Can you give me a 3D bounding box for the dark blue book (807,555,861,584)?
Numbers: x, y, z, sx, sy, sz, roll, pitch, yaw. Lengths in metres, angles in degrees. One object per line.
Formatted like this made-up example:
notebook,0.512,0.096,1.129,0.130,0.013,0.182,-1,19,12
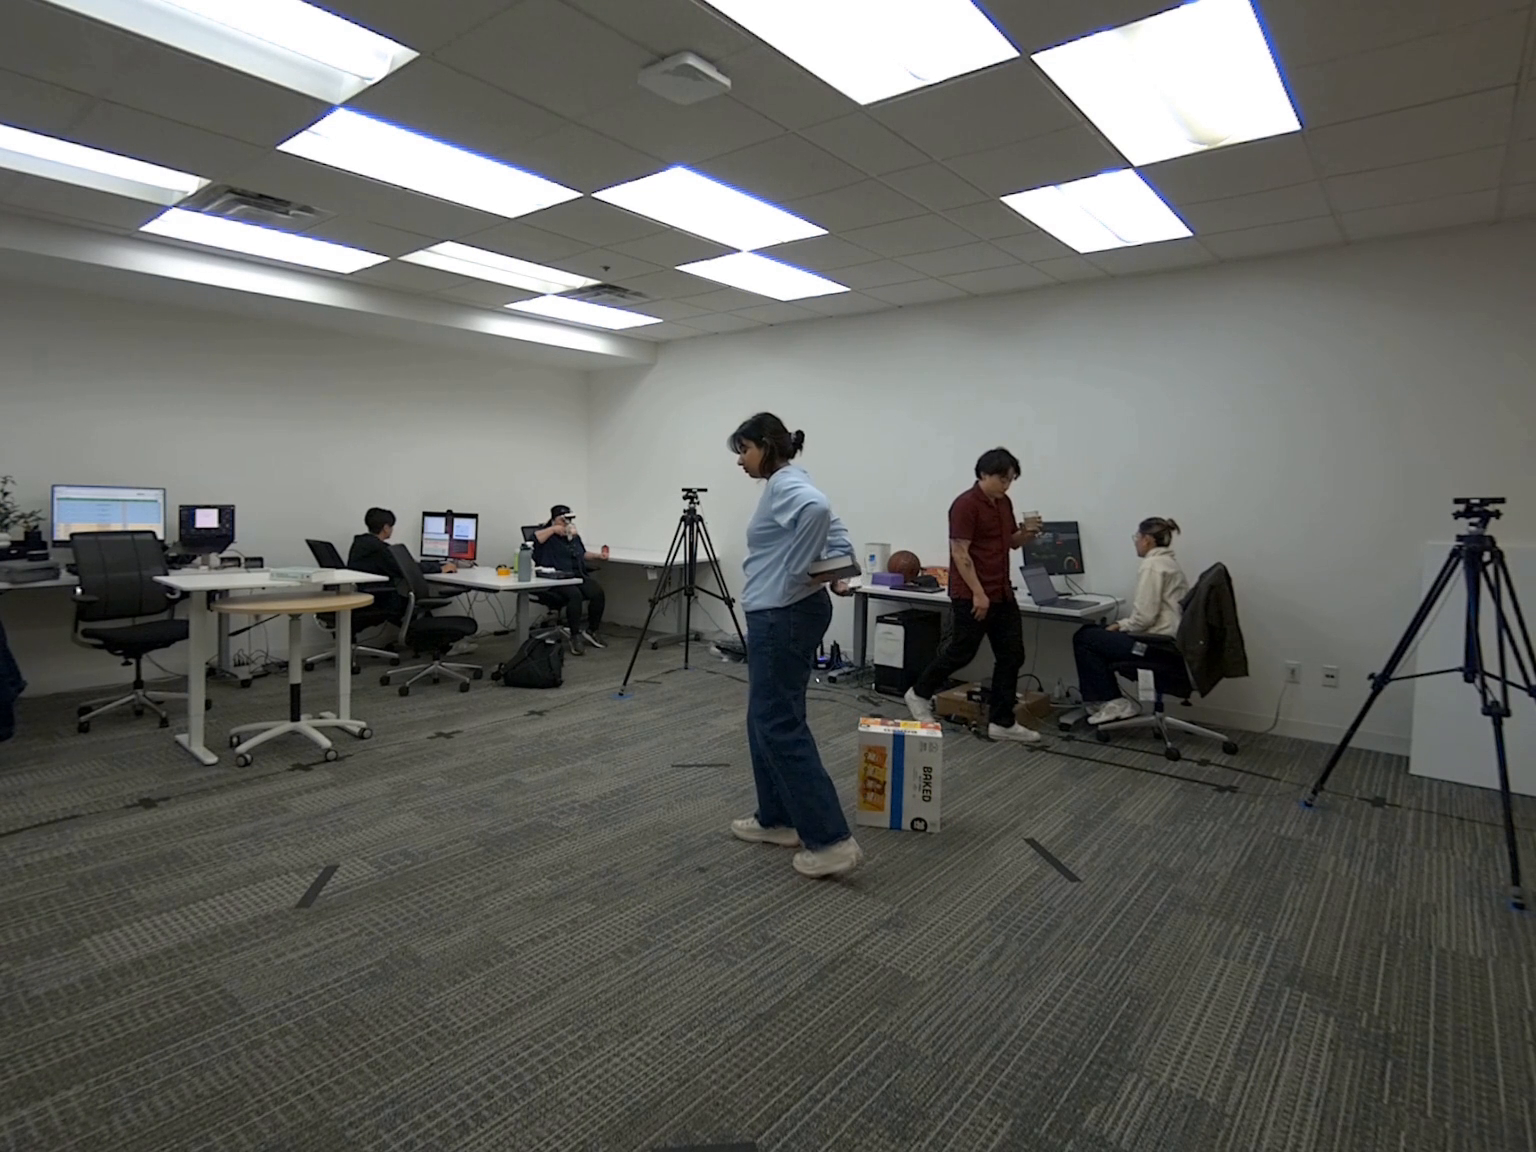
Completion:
dark blue book,0.234,-0.026,3.052,0.165,0.046,0.239,-12,-11,13
